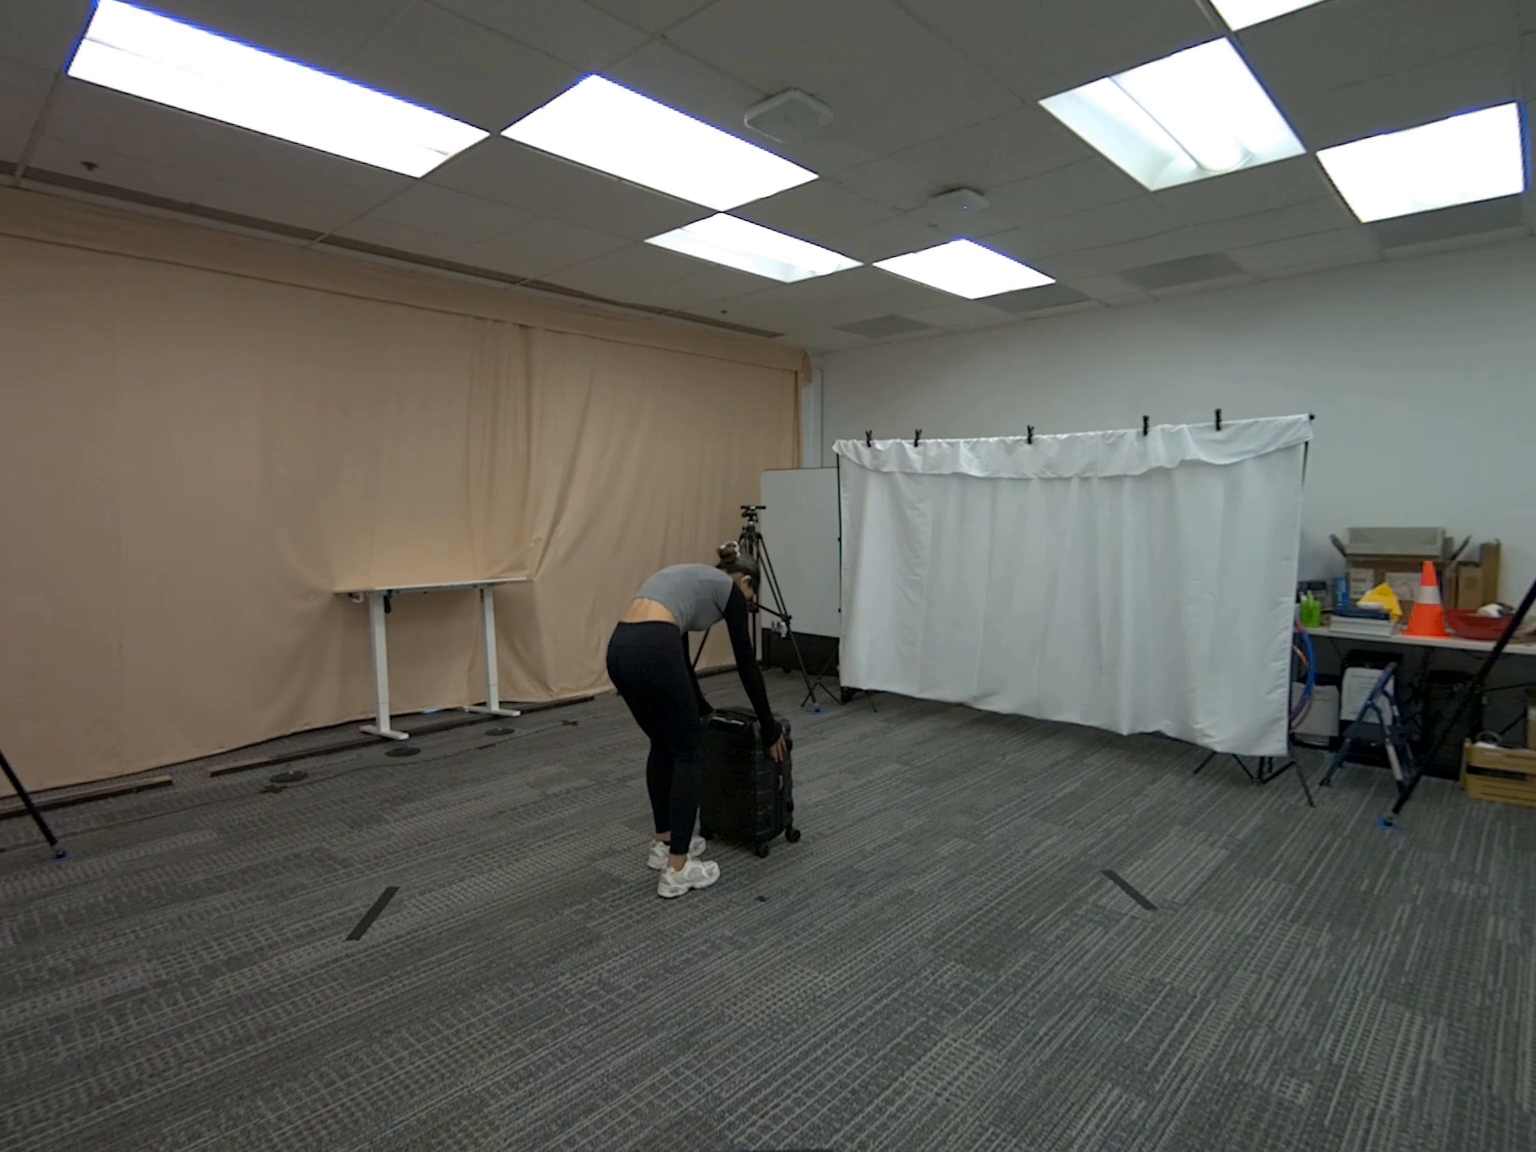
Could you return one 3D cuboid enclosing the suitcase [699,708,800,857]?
[{"bbox_3d":[-0.089,0.828,3.496,0.388,0.548,0.241,2,5,40],"label":"suitcase"}]
